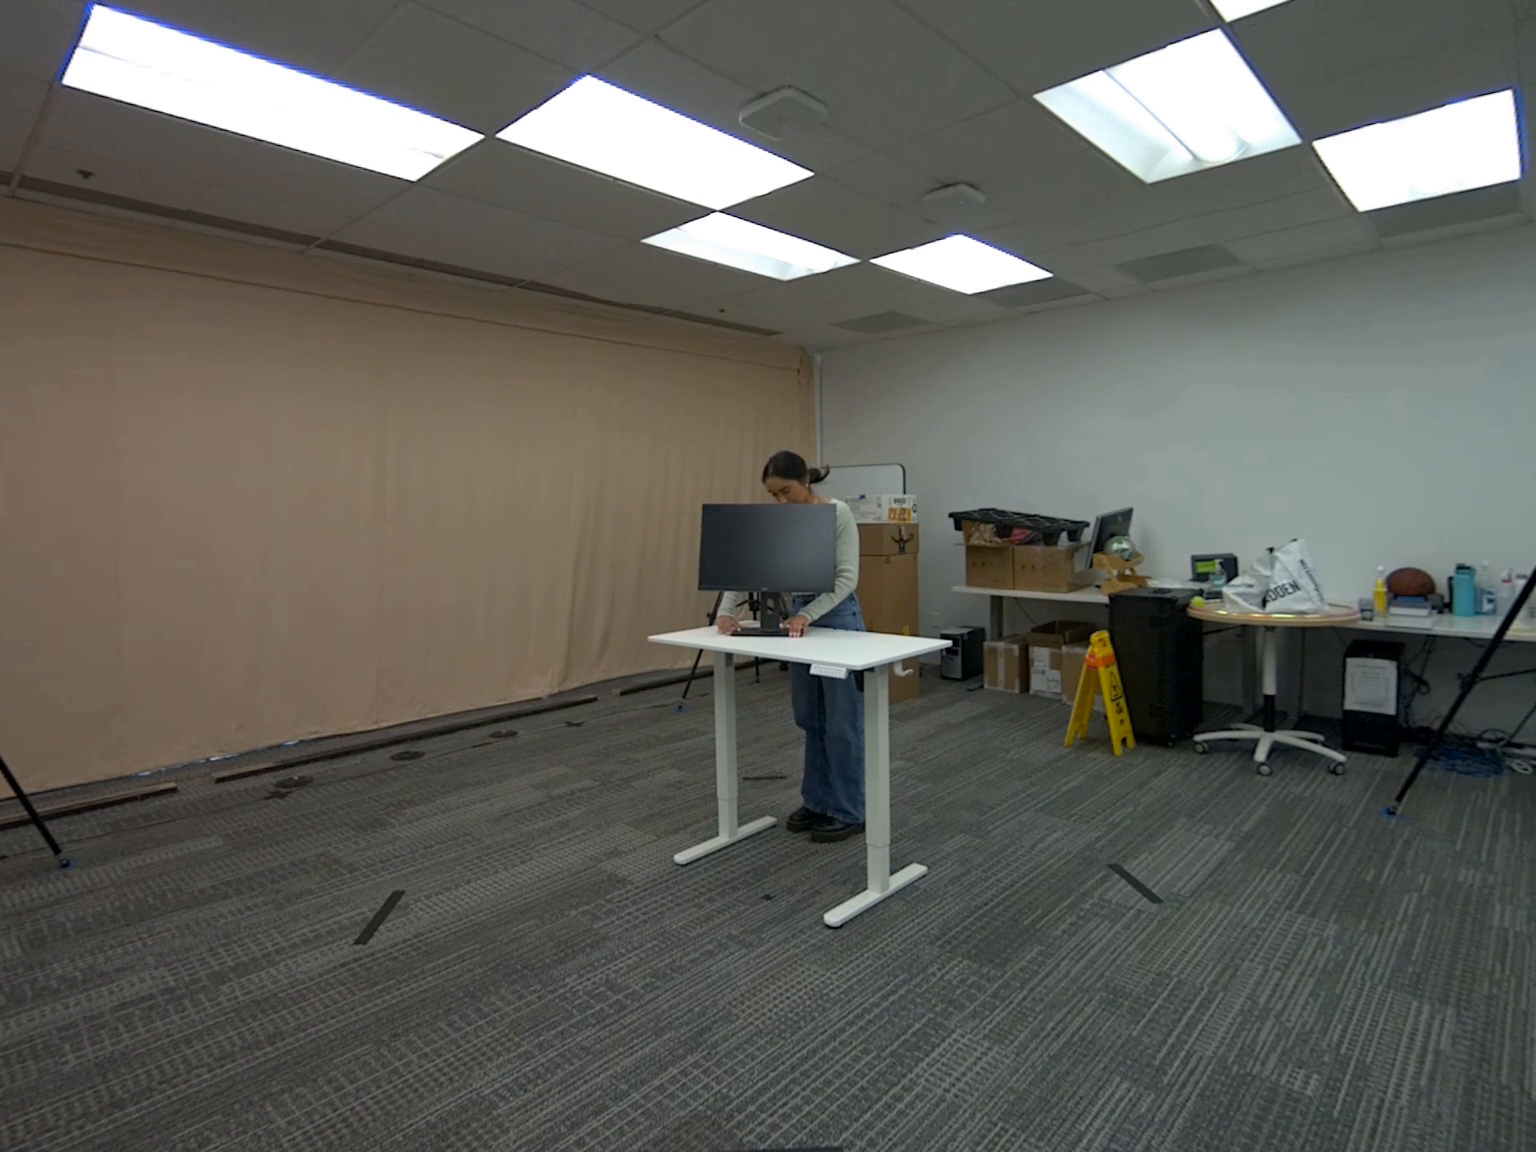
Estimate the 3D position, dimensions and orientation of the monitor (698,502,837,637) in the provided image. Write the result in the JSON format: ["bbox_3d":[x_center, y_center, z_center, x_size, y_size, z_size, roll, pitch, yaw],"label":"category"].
[{"bbox_3d":[-0.001,-0.027,3.325,0.535,0.514,0.173,1,4,8],"label":"monitor"}]
